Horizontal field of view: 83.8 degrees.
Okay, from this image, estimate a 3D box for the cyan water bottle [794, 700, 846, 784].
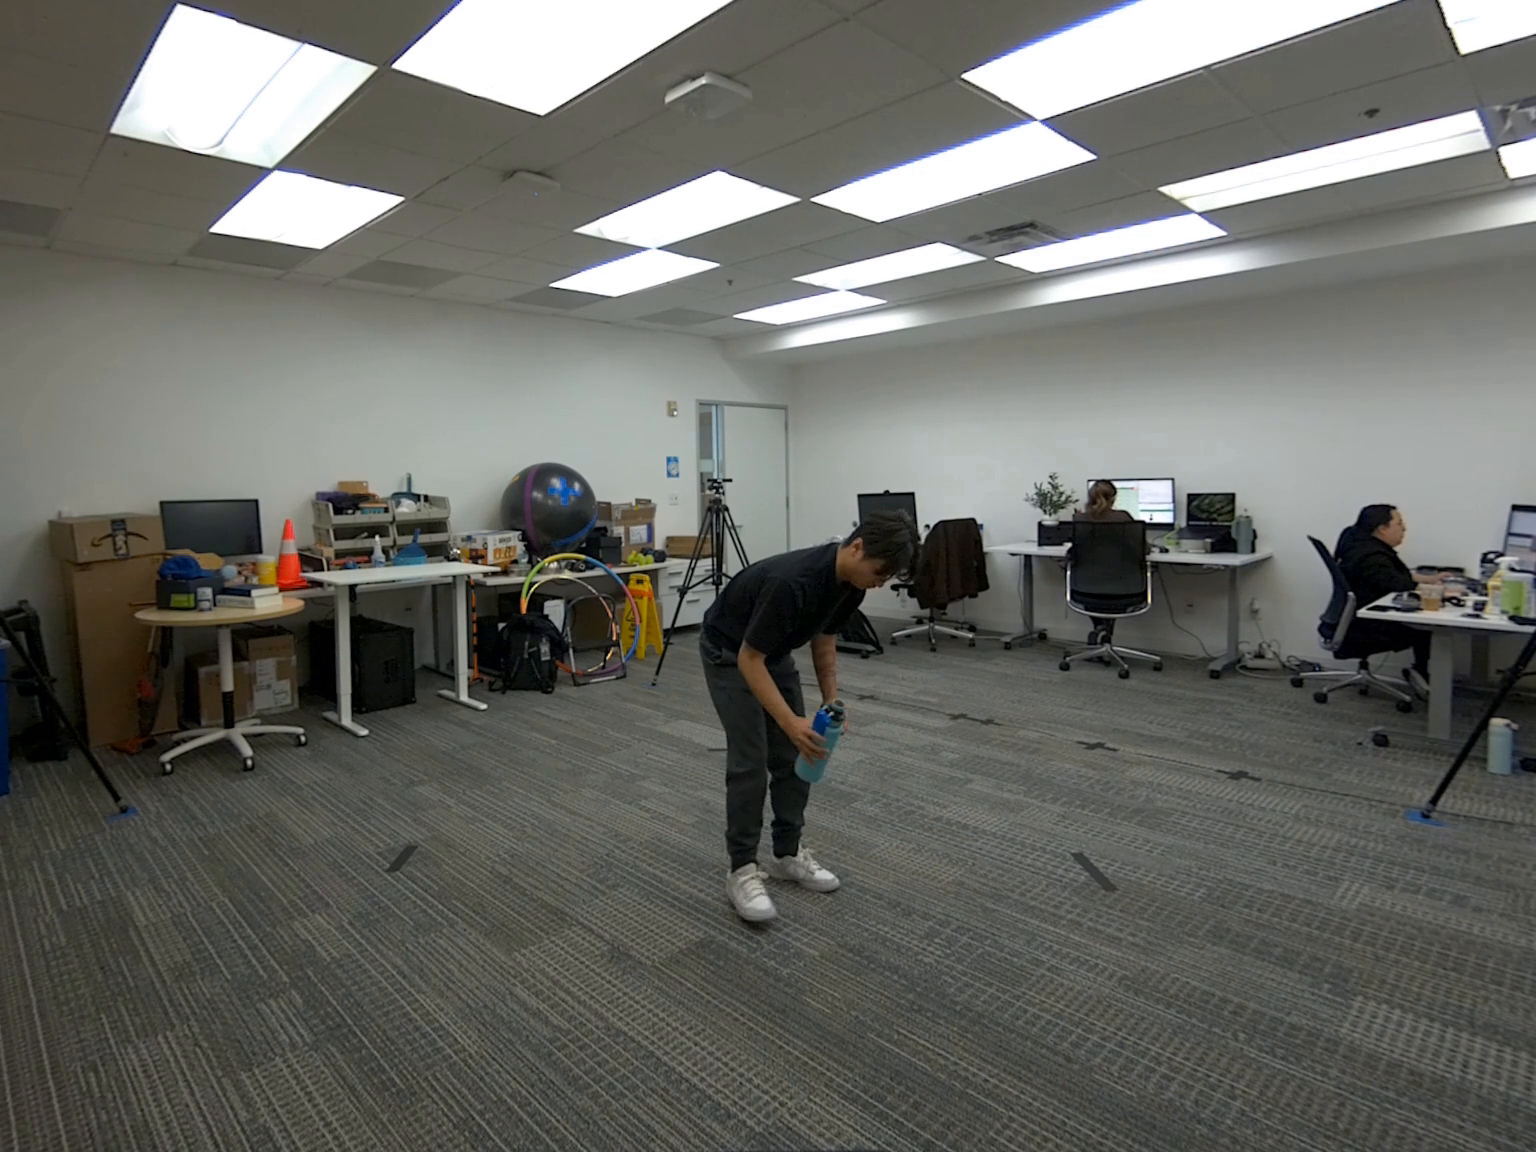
[{"bbox_3d":[0.167,0.499,2.541,0.091,0.278,0.095,10,32,-8],"label":"cyan water bottle"}]
